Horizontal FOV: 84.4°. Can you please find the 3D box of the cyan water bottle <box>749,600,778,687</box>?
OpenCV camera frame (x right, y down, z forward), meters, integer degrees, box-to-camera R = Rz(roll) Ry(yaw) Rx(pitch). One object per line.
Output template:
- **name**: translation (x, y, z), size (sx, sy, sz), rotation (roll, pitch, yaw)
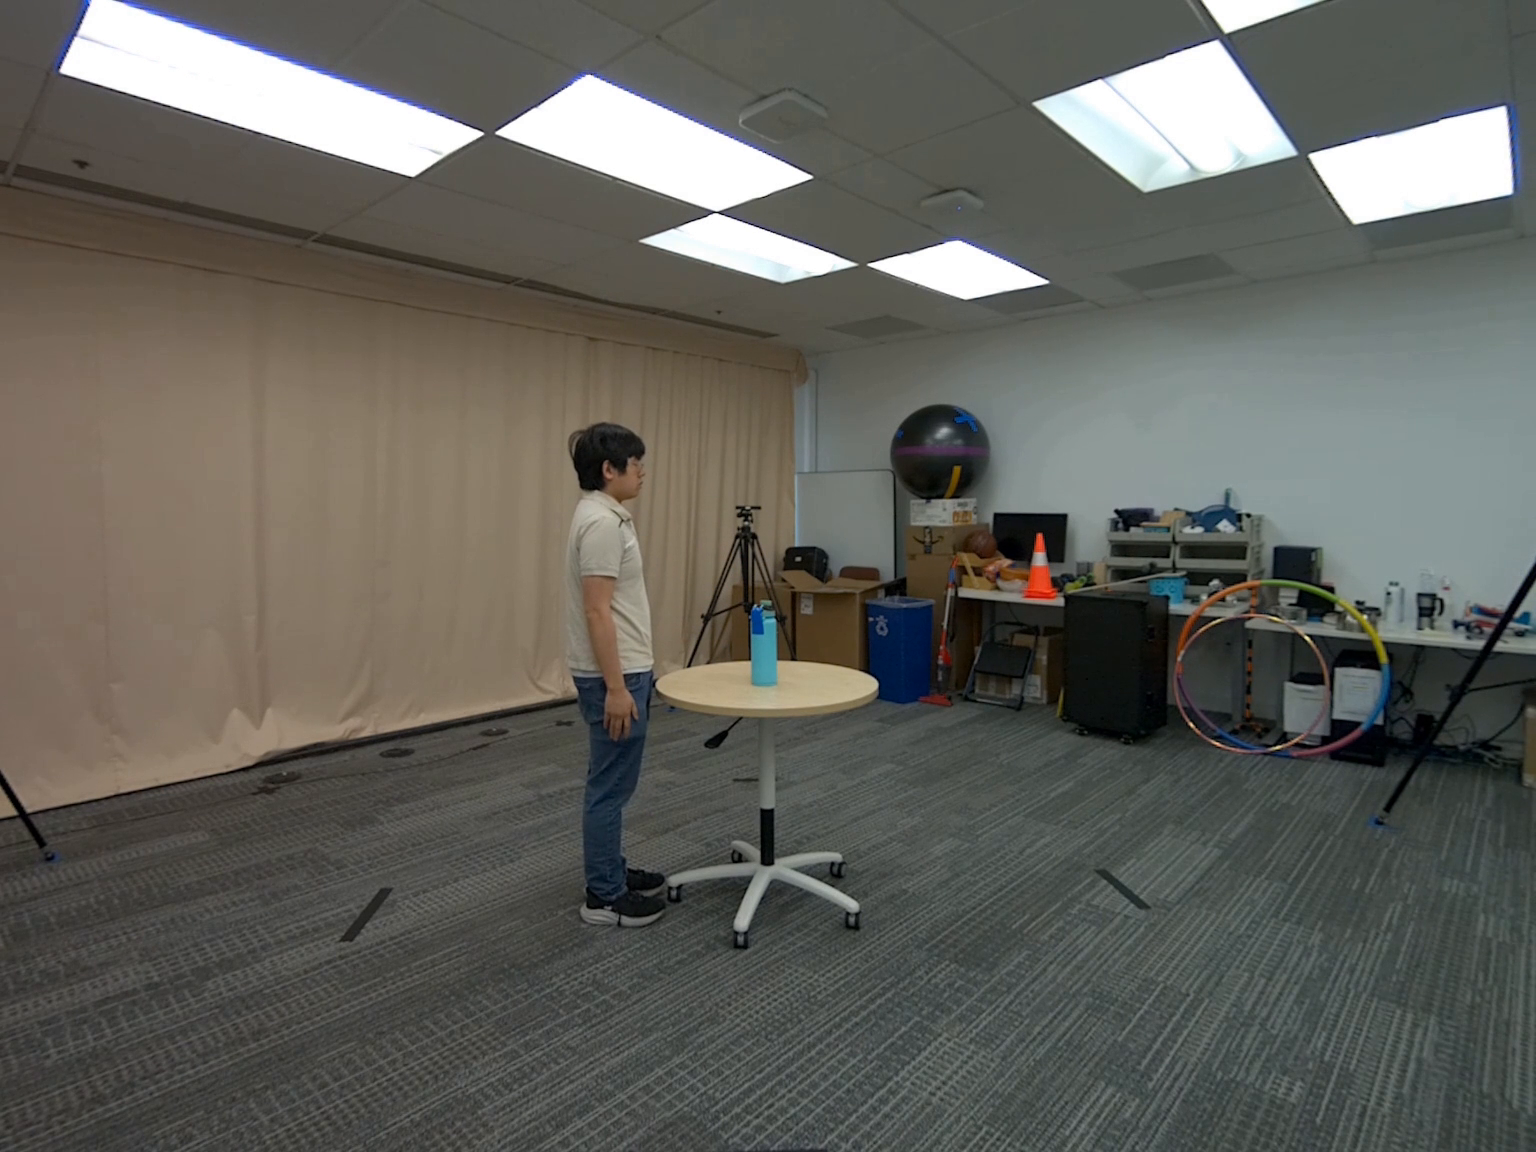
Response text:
- **cyan water bottle**: translation (-0.010, 0.232, 2.872), size (0.092, 0.282, 0.093), rotation (-2, 4, -2)
